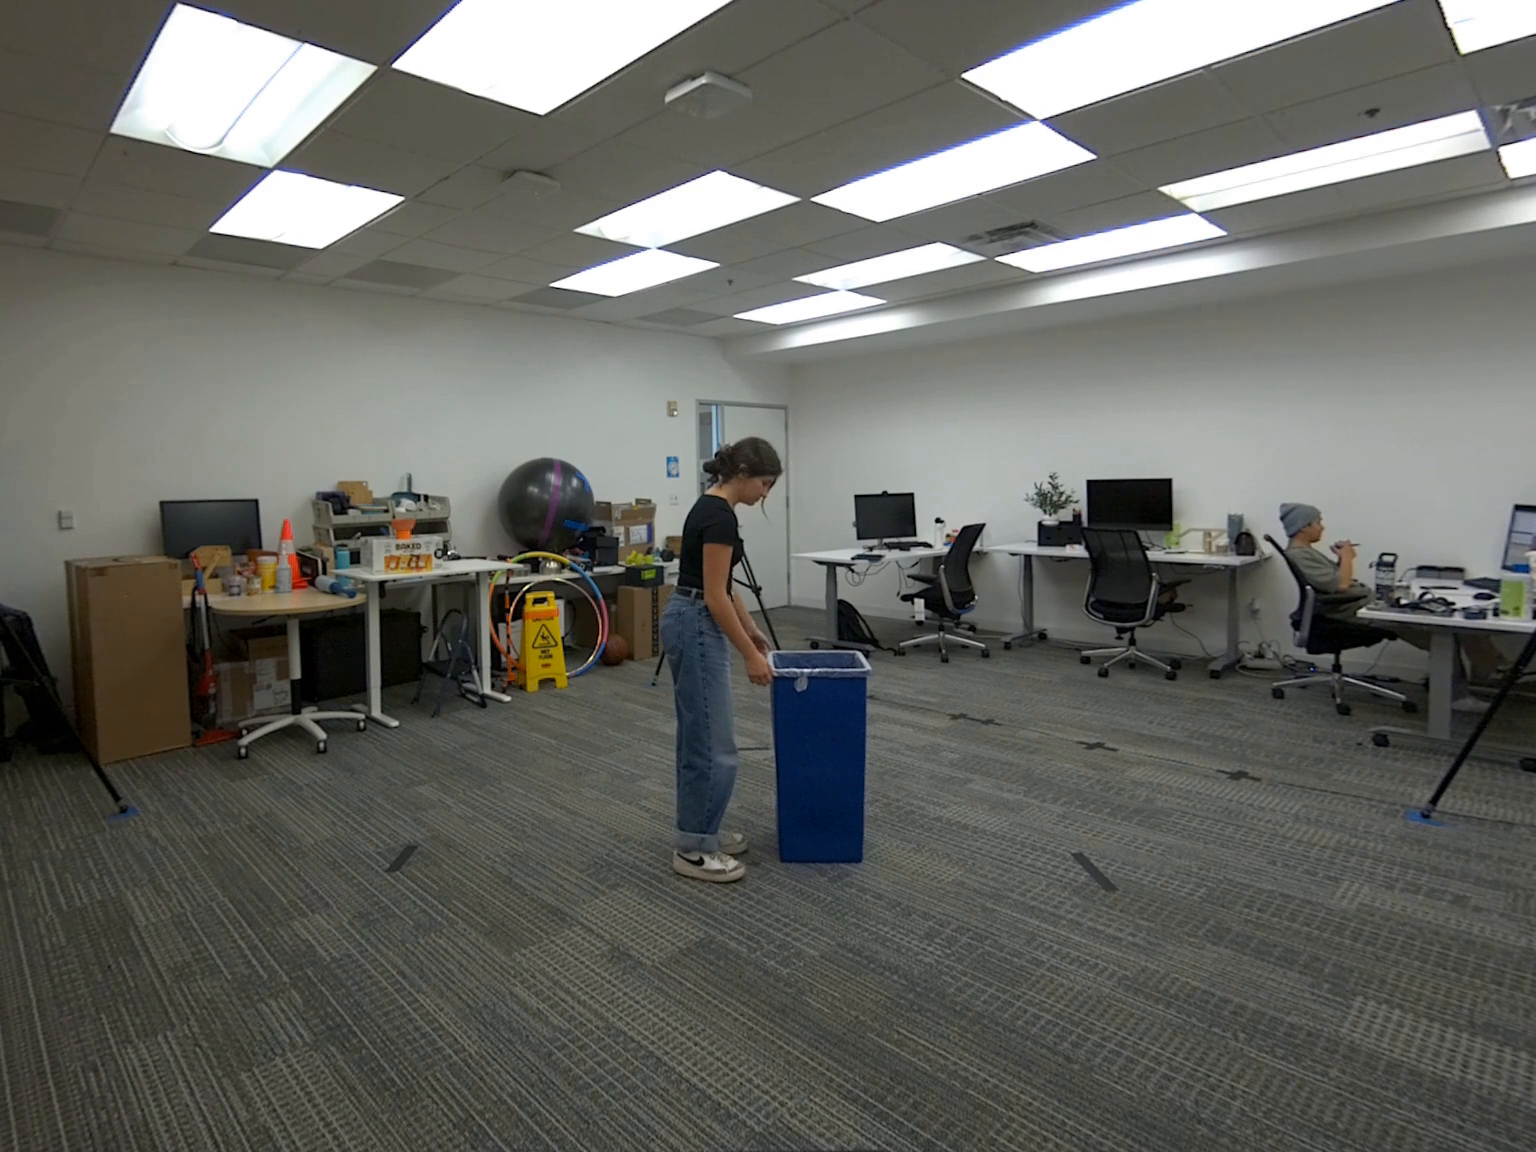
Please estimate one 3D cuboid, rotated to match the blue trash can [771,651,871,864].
[{"bbox_3d":[0.186,0.669,3.238,0.378,0.711,0.375,0,4,0],"label":"blue trash can"}]
